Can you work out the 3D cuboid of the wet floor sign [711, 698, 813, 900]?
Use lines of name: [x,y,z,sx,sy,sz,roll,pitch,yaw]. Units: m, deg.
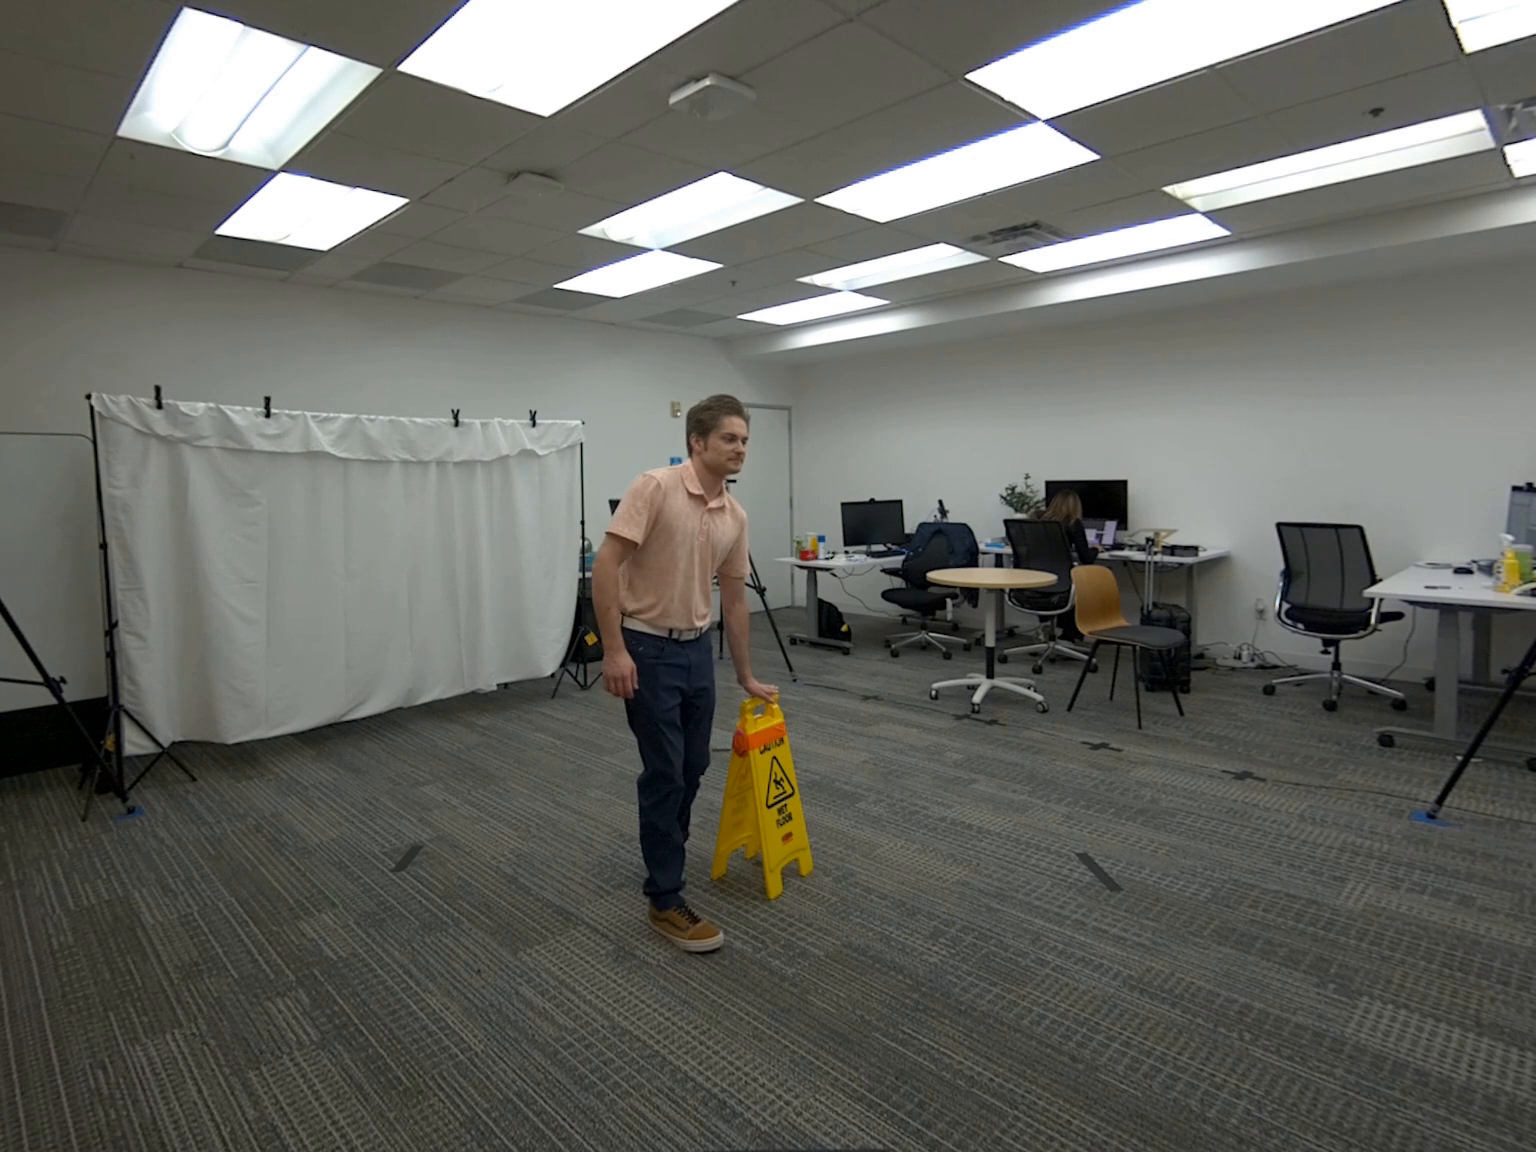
wet floor sign: [-0.024,0.735,3.002,0.298,0.644,0.275,1,4,36]
